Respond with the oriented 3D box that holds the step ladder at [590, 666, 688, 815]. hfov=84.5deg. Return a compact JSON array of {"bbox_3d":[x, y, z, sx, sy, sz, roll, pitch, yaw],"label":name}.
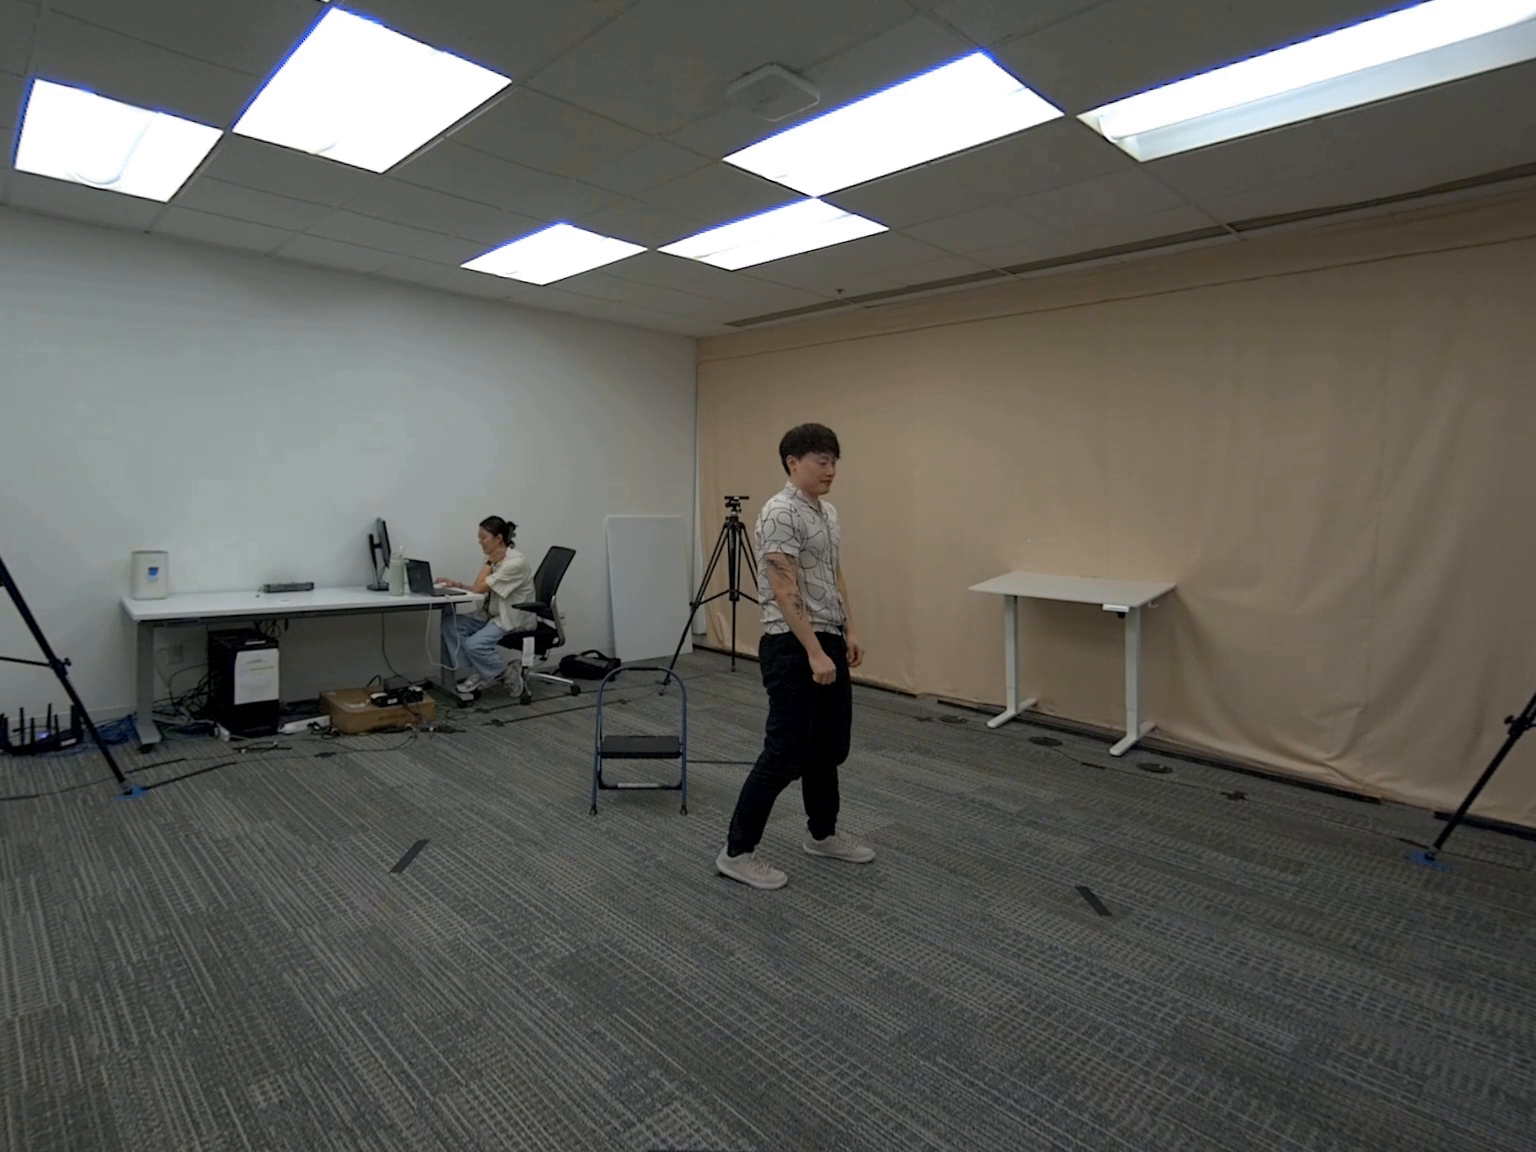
[{"bbox_3d":[-0.586,0.728,3.843,0.429,0.605,0.352,1,3,-6],"label":"step ladder"}]
